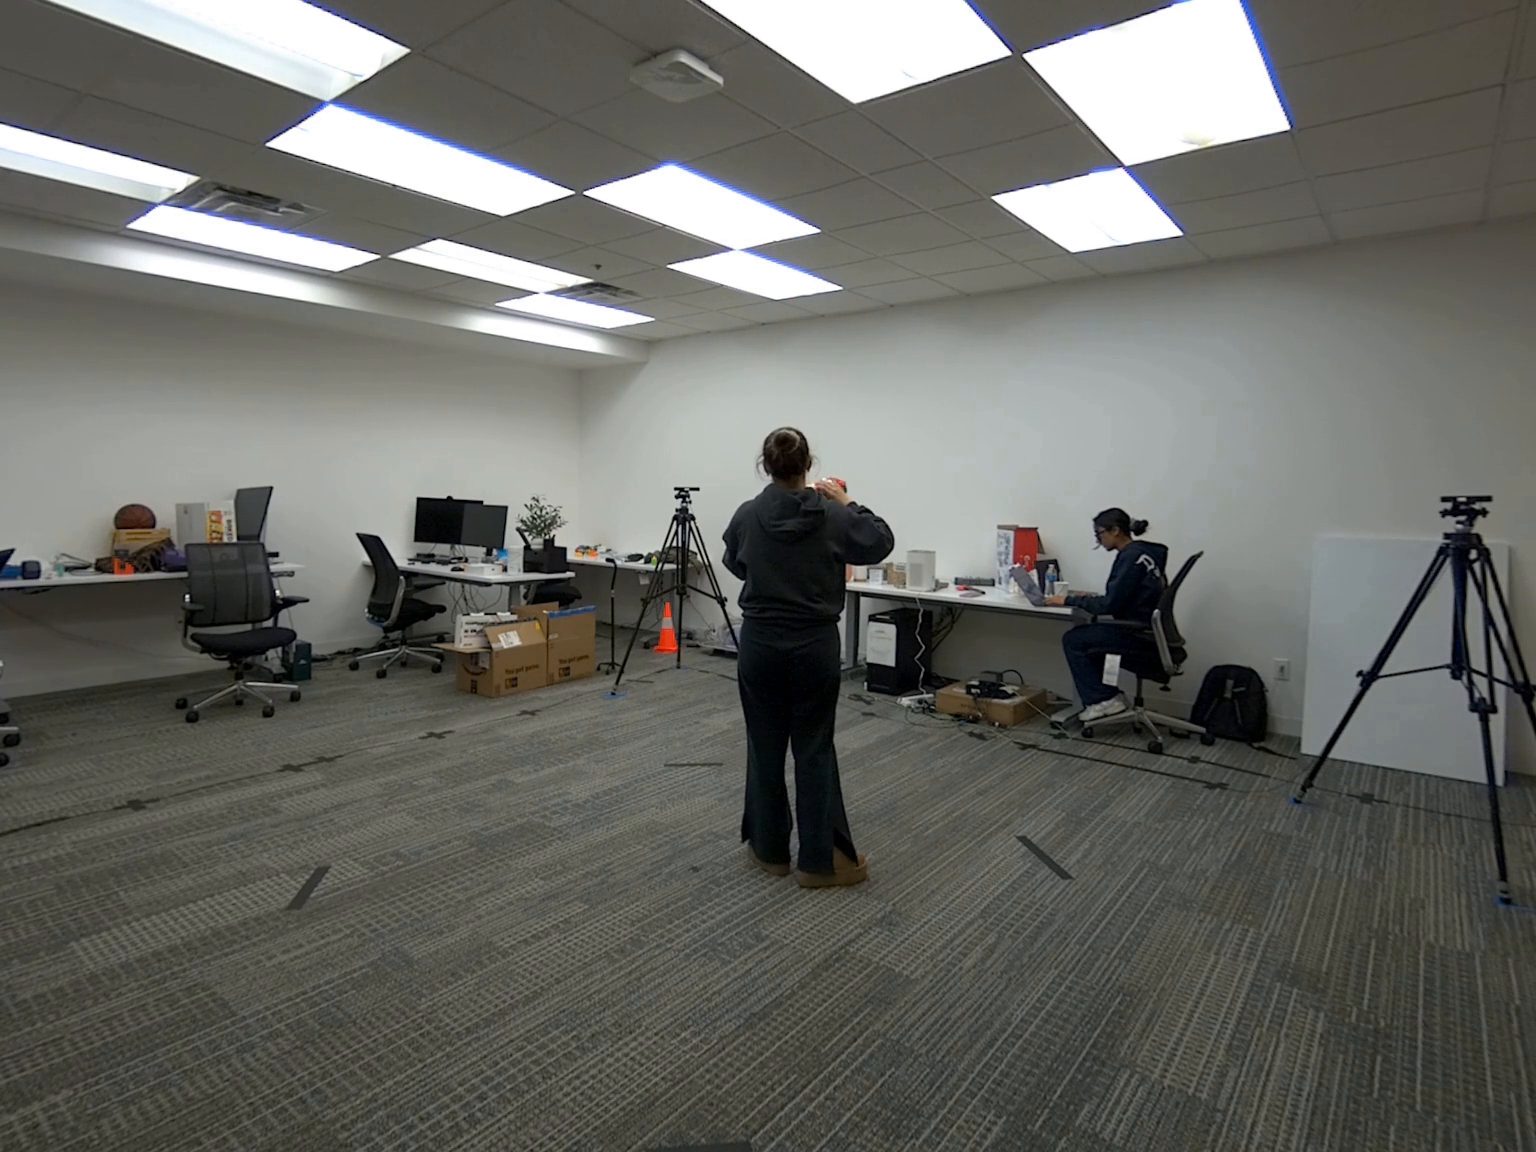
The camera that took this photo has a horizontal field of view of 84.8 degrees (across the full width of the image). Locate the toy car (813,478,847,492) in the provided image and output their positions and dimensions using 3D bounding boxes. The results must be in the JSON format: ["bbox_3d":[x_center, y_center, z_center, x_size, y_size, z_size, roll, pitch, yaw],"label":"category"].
[{"bbox_3d":[0.186,-0.319,3.305,0.250,0.081,0.136,-20,29,-32],"label":"toy car"}]
